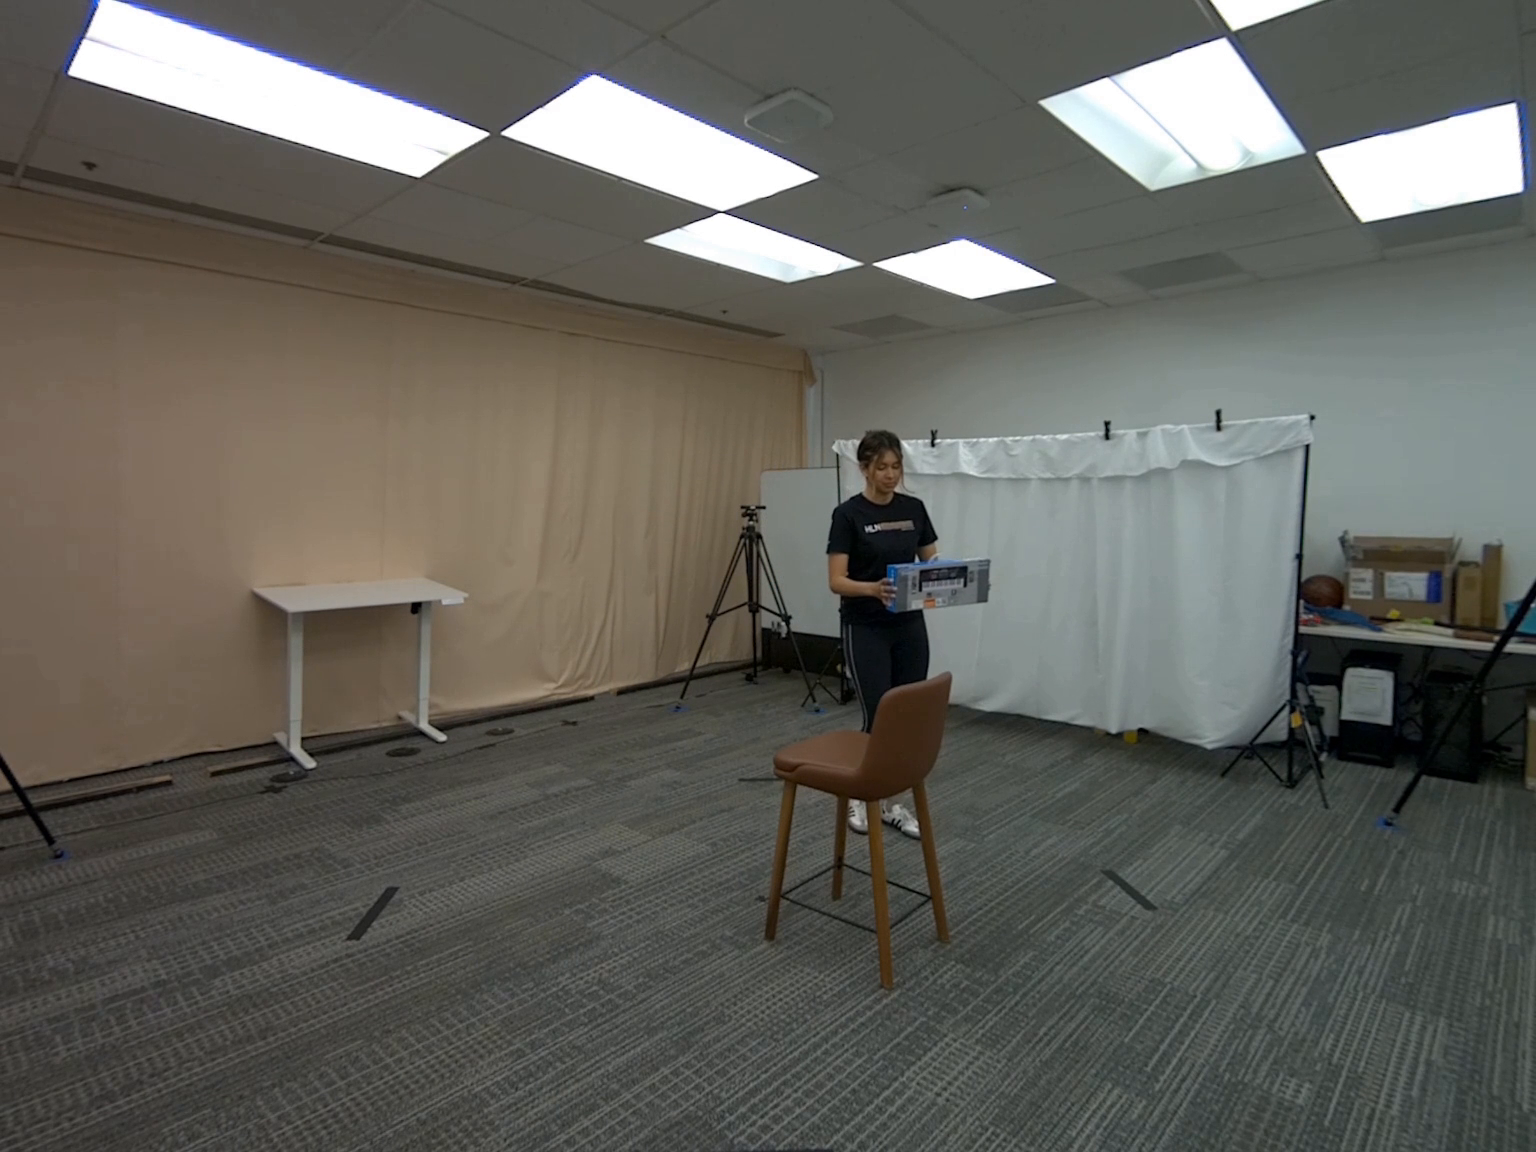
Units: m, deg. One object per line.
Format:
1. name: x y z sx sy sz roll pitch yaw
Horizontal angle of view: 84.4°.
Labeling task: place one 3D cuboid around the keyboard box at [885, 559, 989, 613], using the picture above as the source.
1. keyboard box: 0.663 0.038 3.238 0.427 0.175 0.061 -5 10 -23
